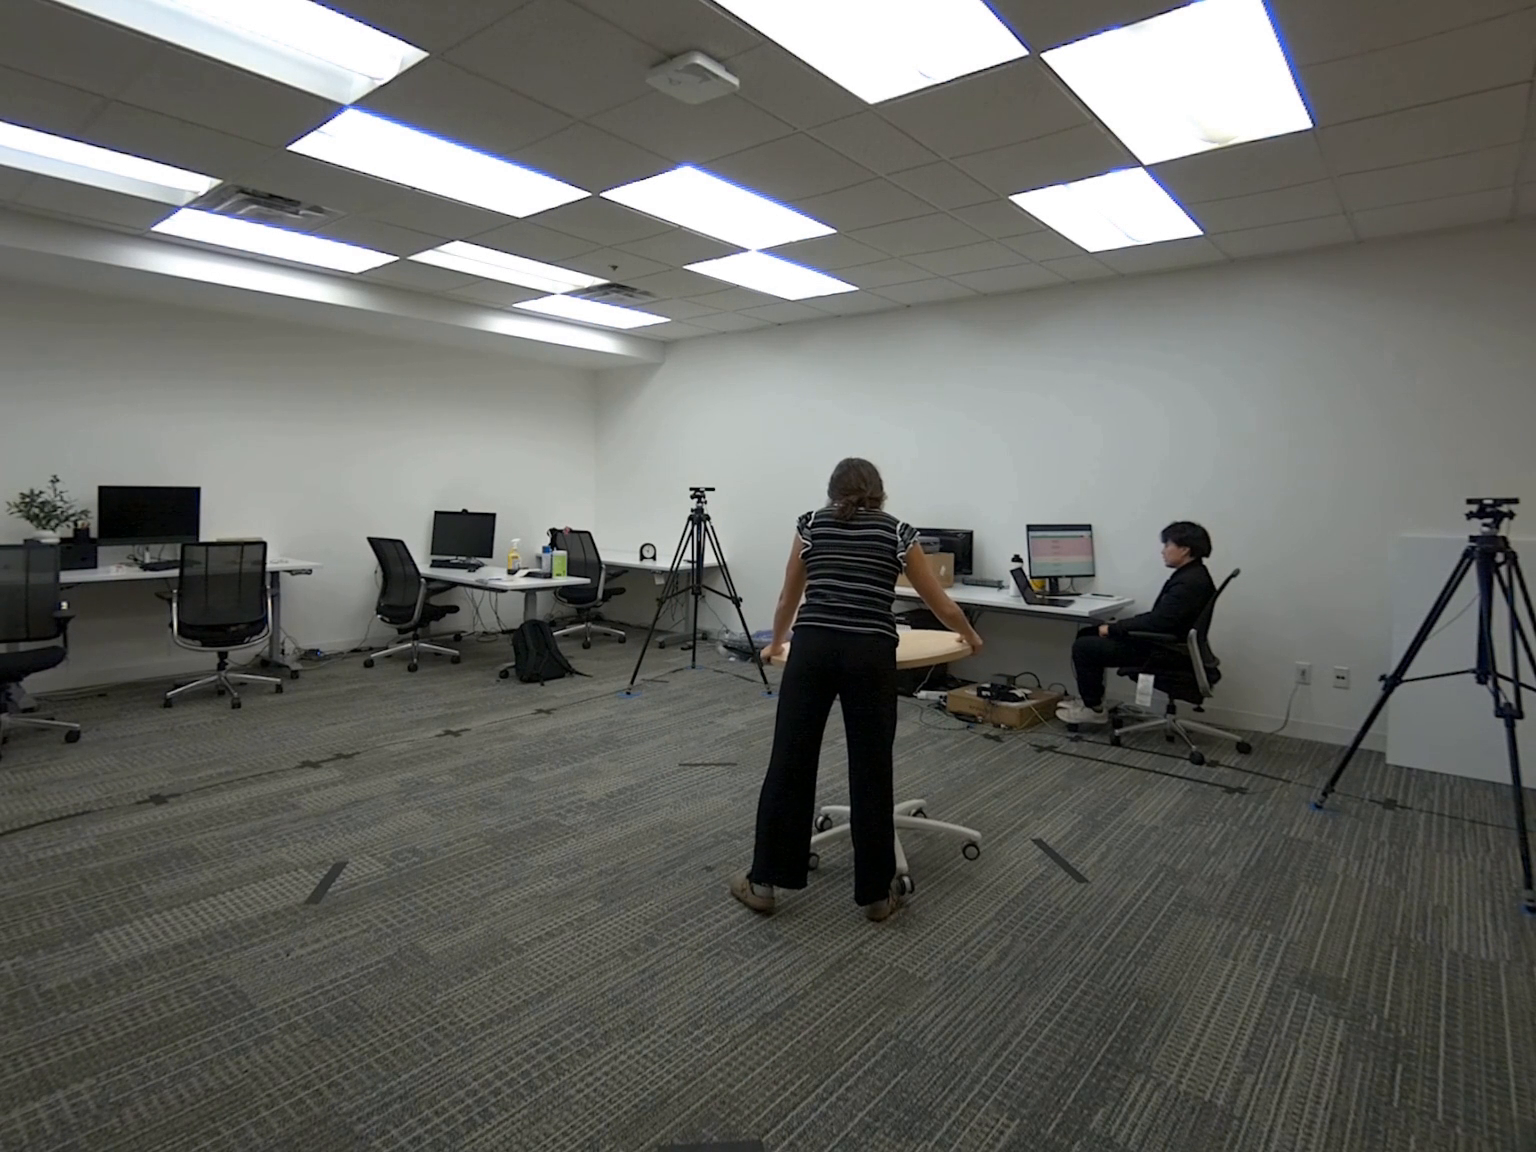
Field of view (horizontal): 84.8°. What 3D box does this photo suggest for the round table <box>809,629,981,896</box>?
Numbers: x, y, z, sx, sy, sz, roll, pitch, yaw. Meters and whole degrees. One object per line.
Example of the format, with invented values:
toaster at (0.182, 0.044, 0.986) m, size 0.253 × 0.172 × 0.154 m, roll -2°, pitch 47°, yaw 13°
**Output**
round table at (0.407, 0.653, 3.224) m, size 0.763 × 0.792 × 0.766 m, roll -5°, pitch 3°, yaw -2°
